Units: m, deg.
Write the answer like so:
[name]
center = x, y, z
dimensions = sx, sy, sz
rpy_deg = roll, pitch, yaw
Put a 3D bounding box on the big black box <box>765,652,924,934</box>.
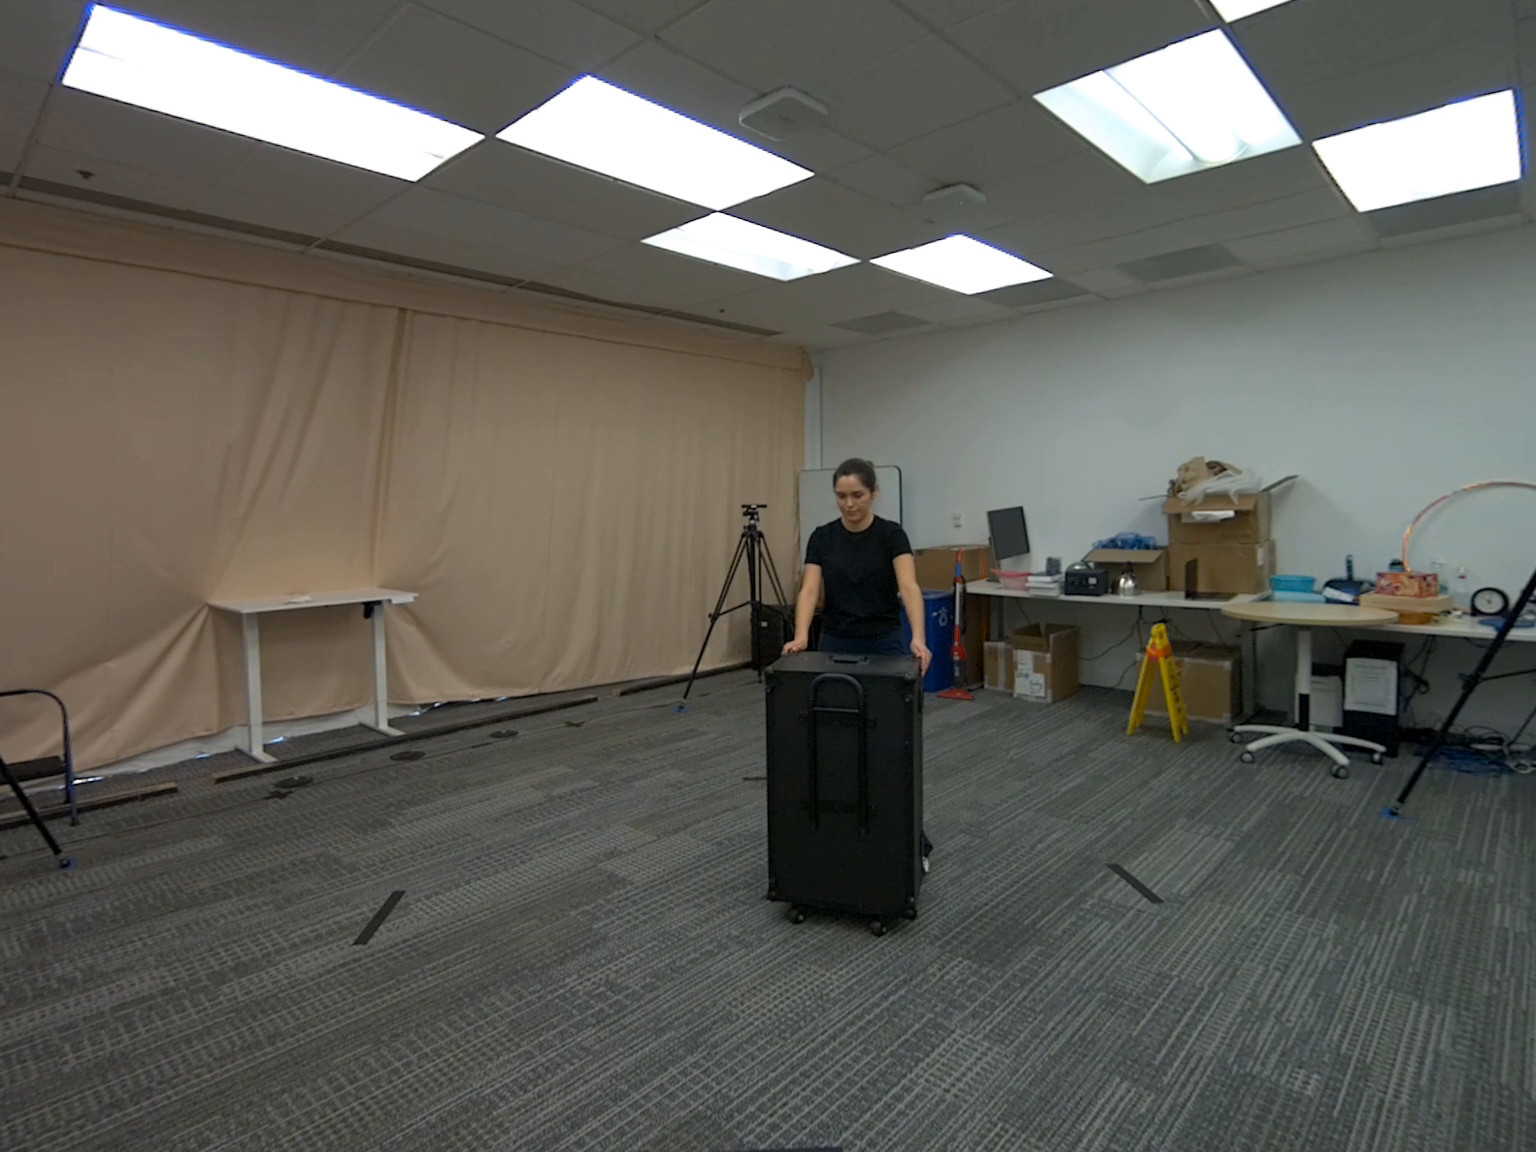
[big black box]
center = 0.285, 0.722, 2.873
dimensions = 0.531, 0.859, 0.390
rpy_deg = 0, 4, 18
